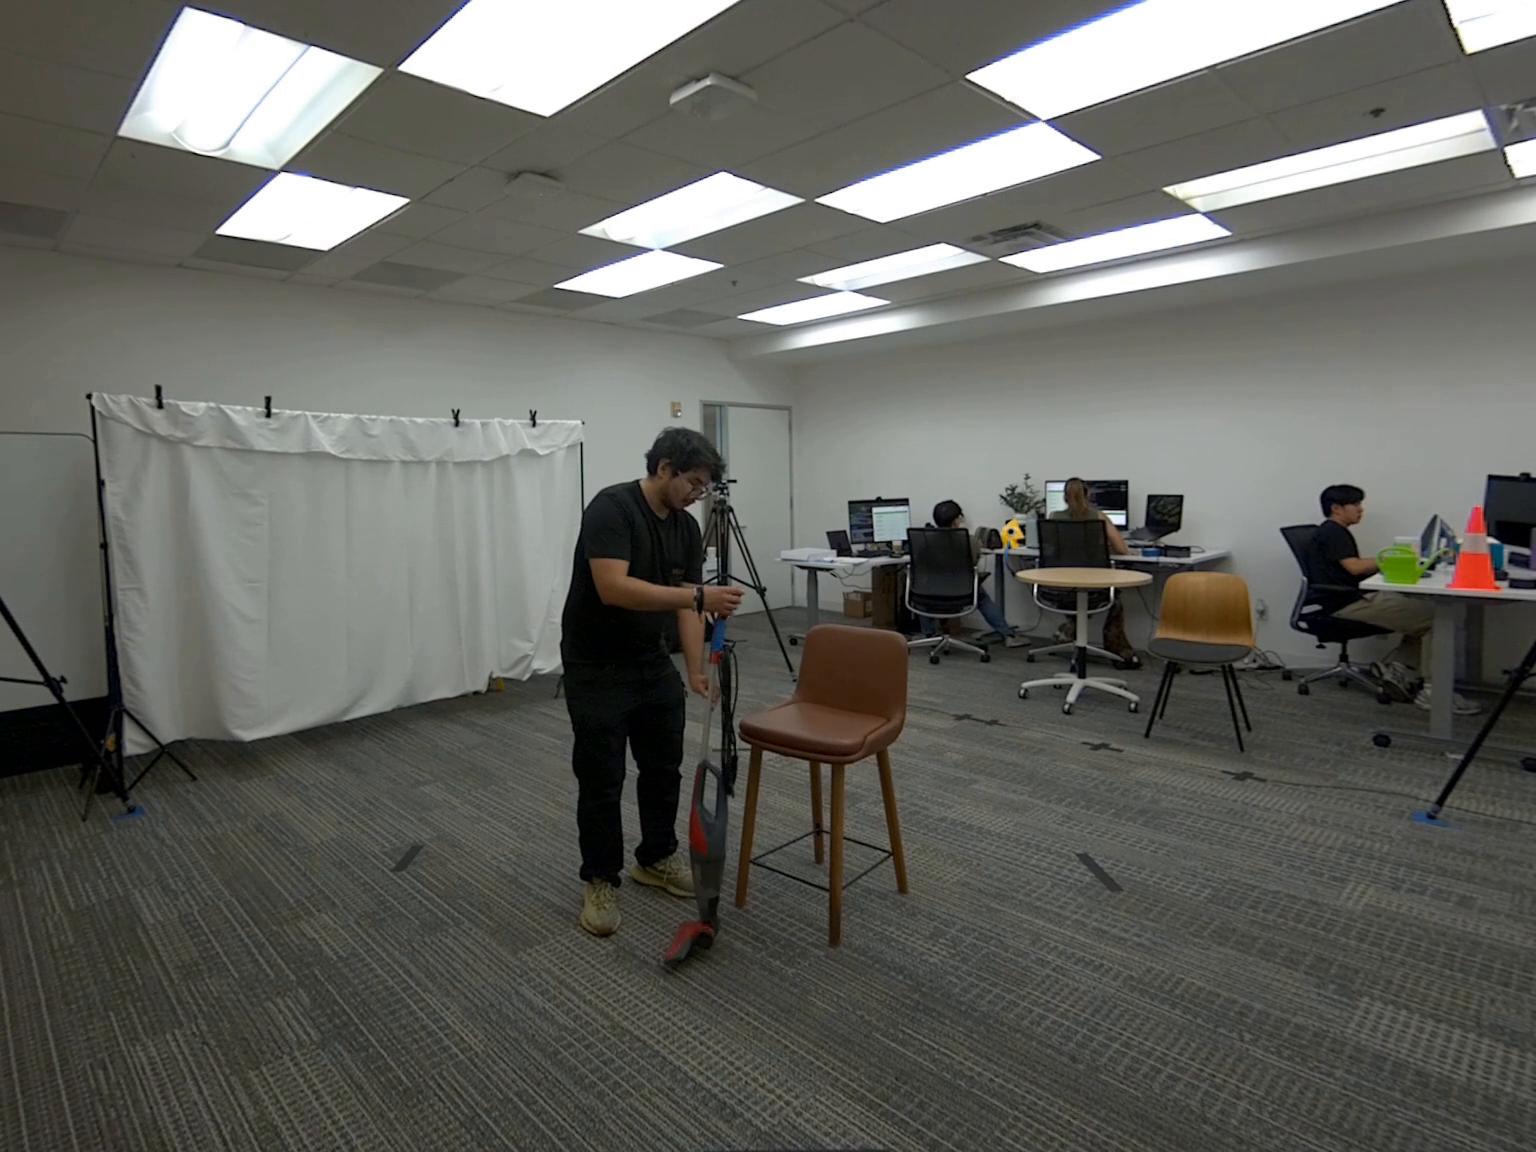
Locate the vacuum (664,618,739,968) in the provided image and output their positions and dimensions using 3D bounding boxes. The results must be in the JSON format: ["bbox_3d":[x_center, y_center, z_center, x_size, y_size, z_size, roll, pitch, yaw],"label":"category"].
[{"bbox_3d":[-0.142,0.570,2.540,0.147,1.050,0.247,7,-1,18],"label":"vacuum"}]
